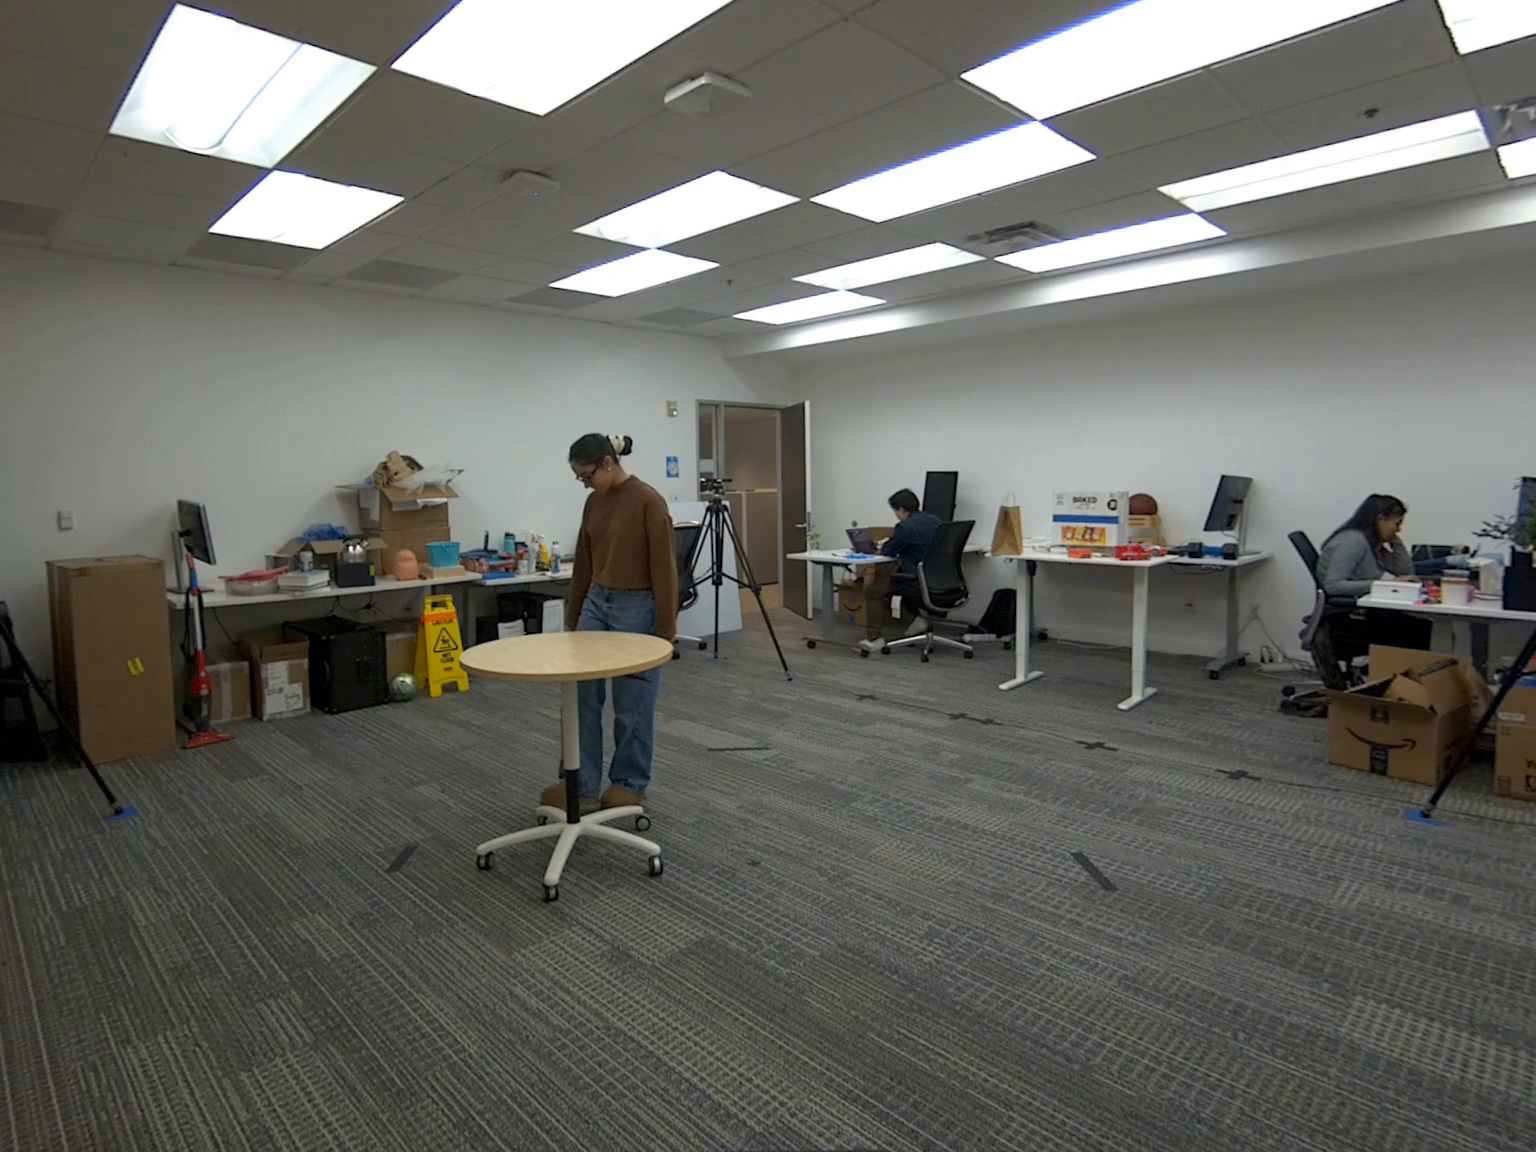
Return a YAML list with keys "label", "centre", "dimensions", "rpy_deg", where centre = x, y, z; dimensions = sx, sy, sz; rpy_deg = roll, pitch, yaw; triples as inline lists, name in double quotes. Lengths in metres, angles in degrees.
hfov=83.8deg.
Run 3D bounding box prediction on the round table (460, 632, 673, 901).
- label: "round table"
  centre: [-0.720, 0.667, 3.155]
  dimensions: [0.763, 0.791, 0.768]
  rpy_deg: [-1, 5, -2]
